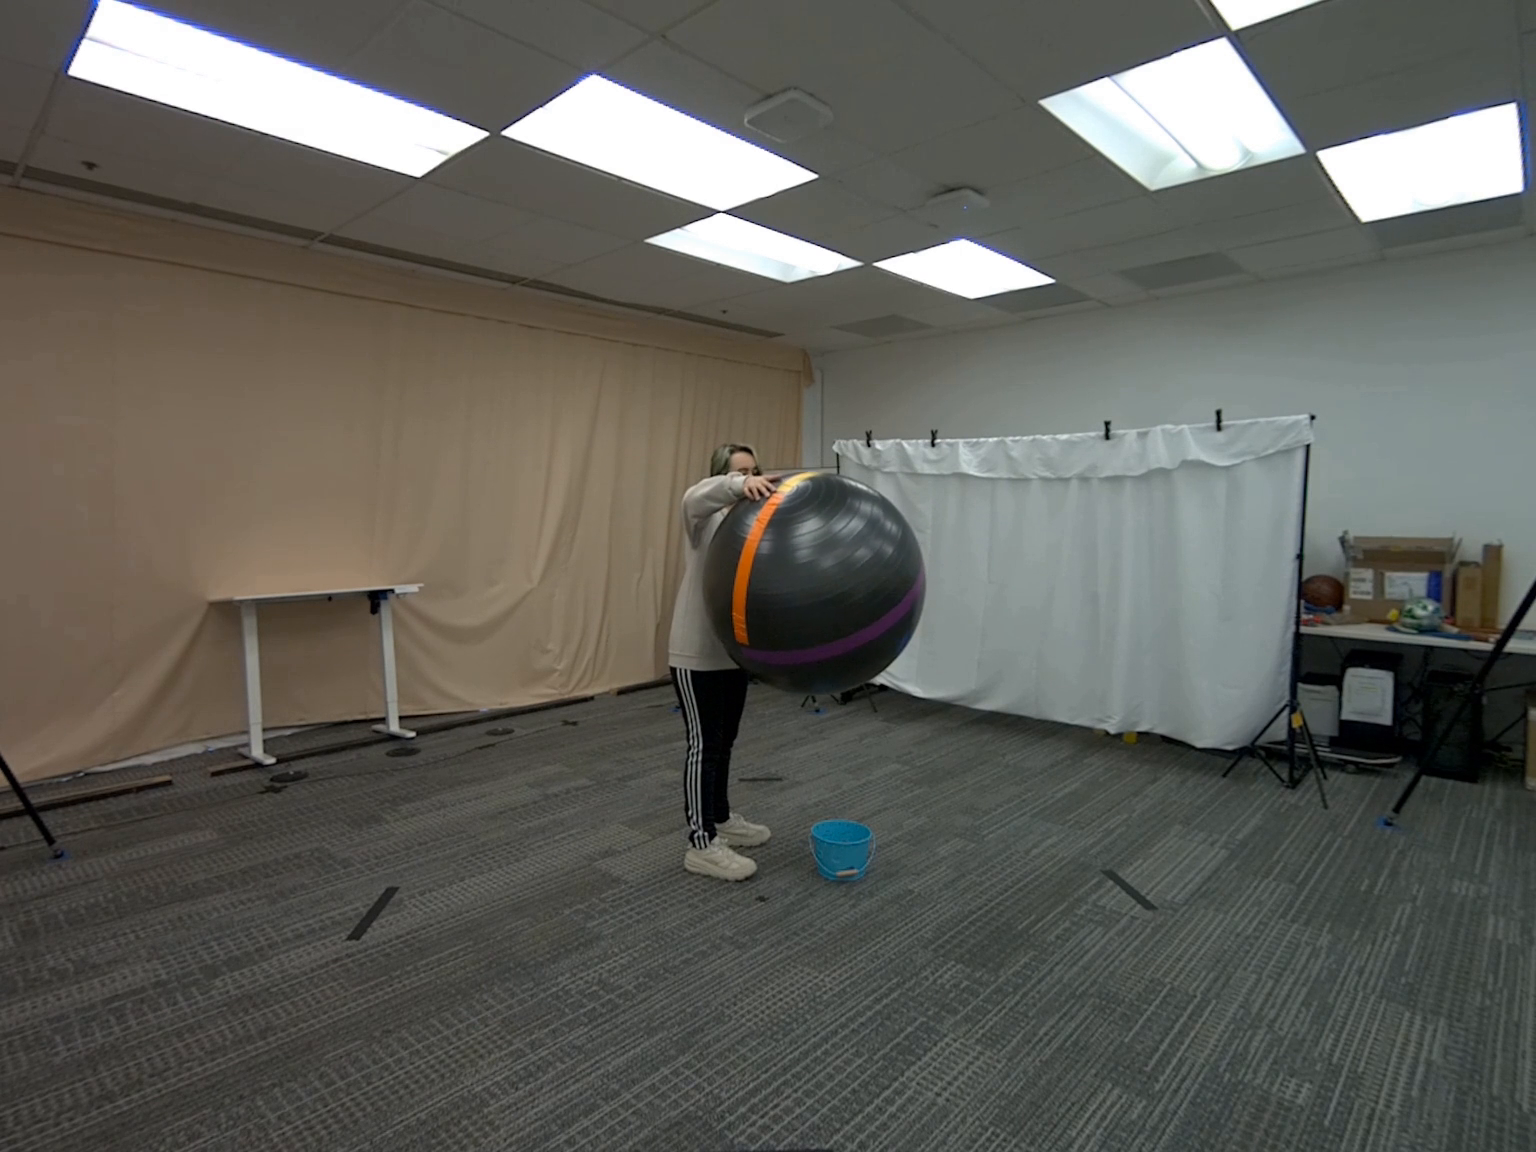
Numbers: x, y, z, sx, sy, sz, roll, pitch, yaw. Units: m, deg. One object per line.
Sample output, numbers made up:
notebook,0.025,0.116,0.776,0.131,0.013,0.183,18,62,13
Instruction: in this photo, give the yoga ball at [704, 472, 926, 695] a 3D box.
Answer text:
yoga ball,0.160,0.024,2.870,0.757,0.756,0.761,0,4,-2
